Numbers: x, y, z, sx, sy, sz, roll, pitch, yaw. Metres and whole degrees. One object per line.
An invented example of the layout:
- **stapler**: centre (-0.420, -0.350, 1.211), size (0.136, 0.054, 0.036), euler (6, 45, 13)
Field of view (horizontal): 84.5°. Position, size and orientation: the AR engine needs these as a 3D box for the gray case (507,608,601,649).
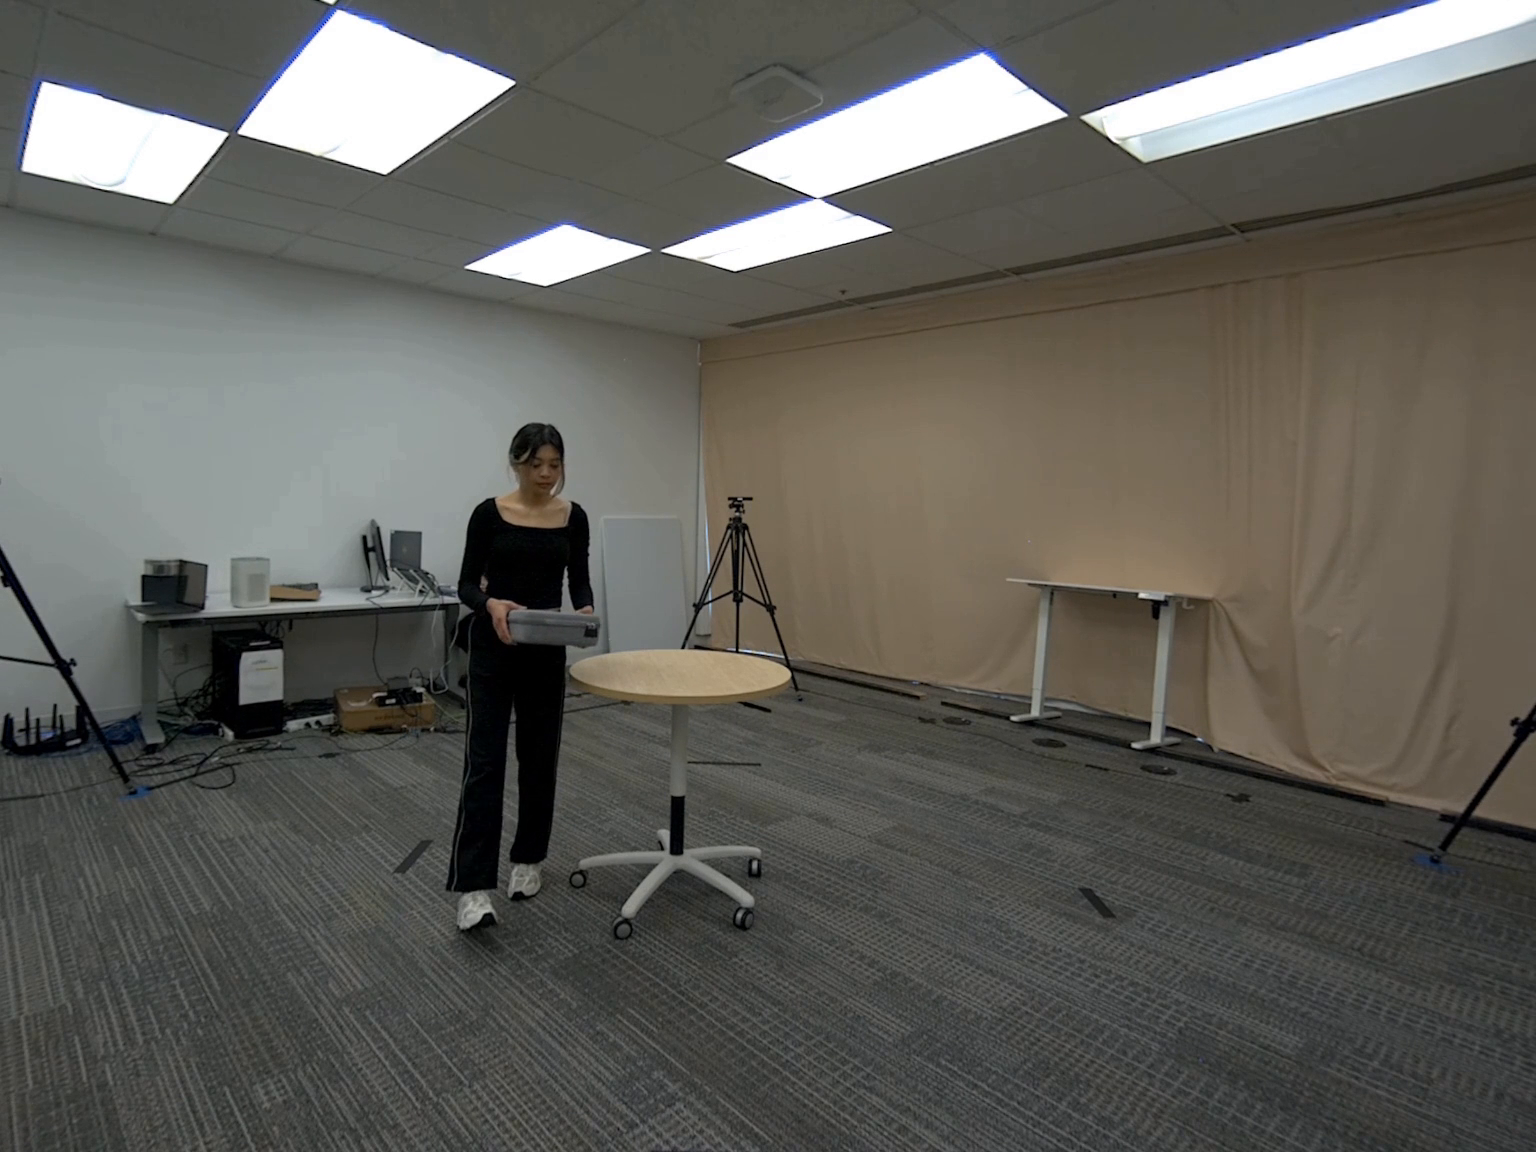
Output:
- **gray case**: centre (-0.684, 0.161, 2.693), size (0.254, 0.105, 0.262), euler (2, -4, -14)
